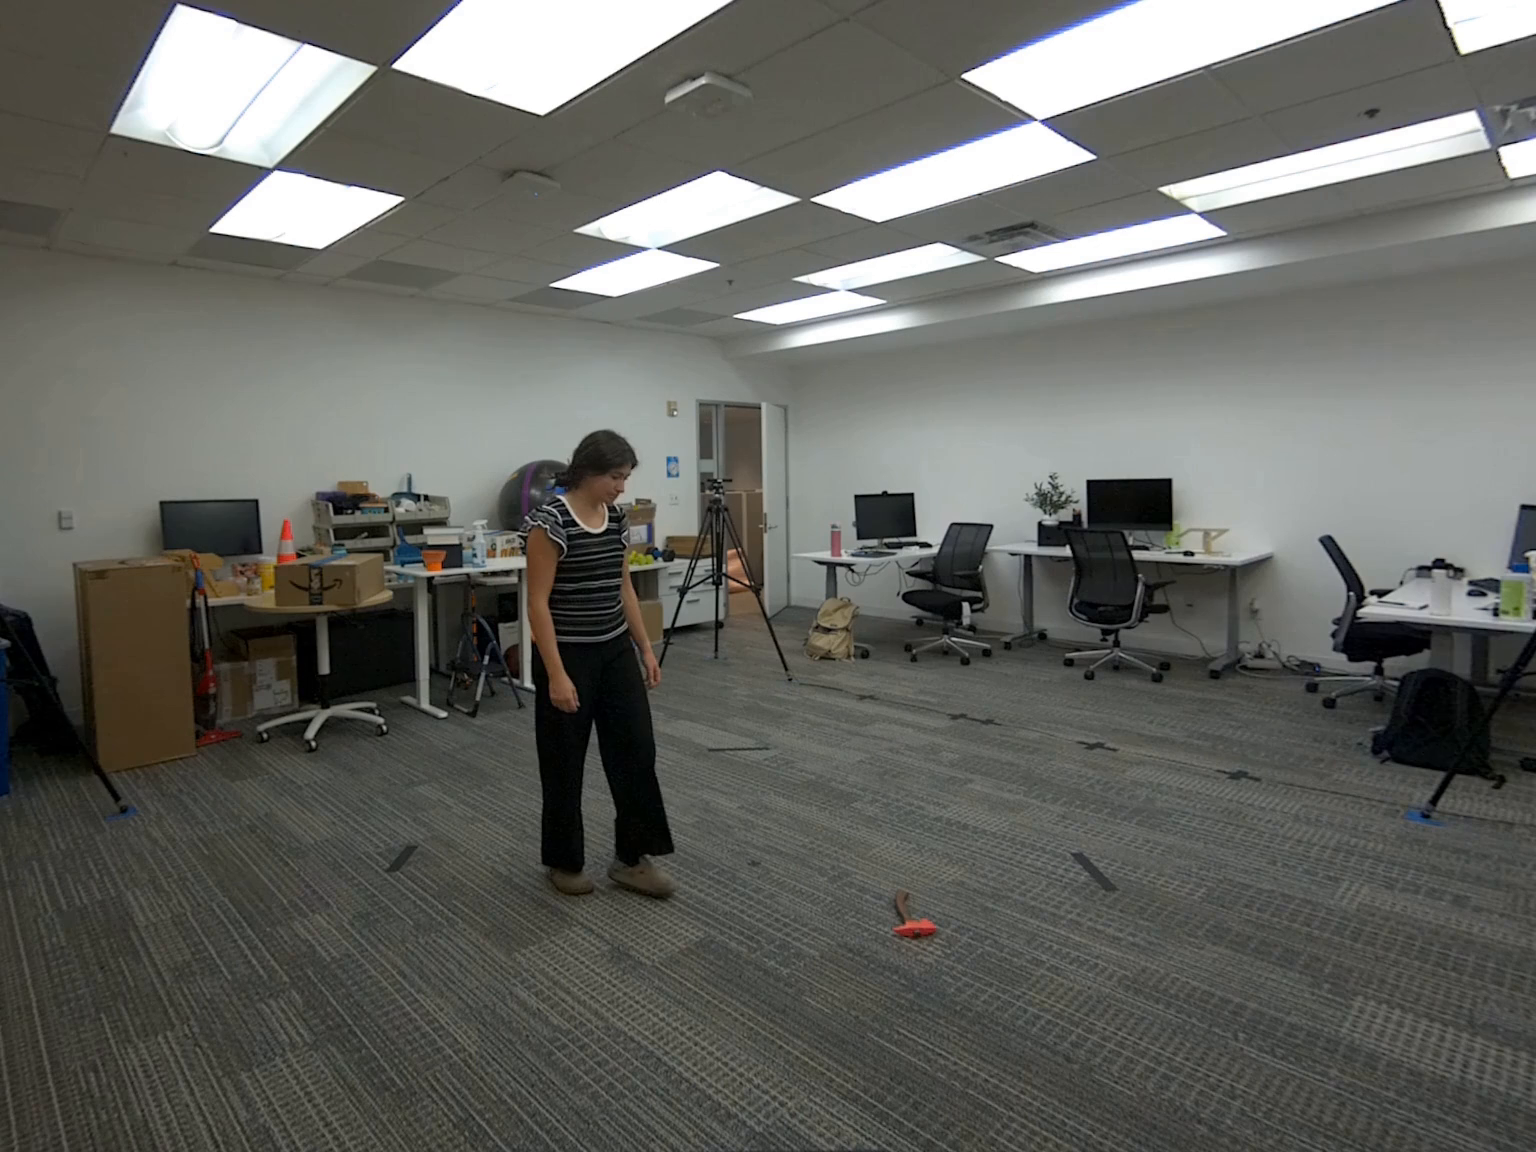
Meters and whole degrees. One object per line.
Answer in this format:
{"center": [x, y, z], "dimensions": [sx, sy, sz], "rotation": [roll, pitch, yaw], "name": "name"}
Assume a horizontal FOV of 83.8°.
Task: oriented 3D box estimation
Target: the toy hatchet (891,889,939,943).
{"center": [0.466, 1.064, 2.709], "dimensions": [0.132, 0.029, 0.268], "rotation": [-1, 6, 11], "name": "toy hatchet"}
